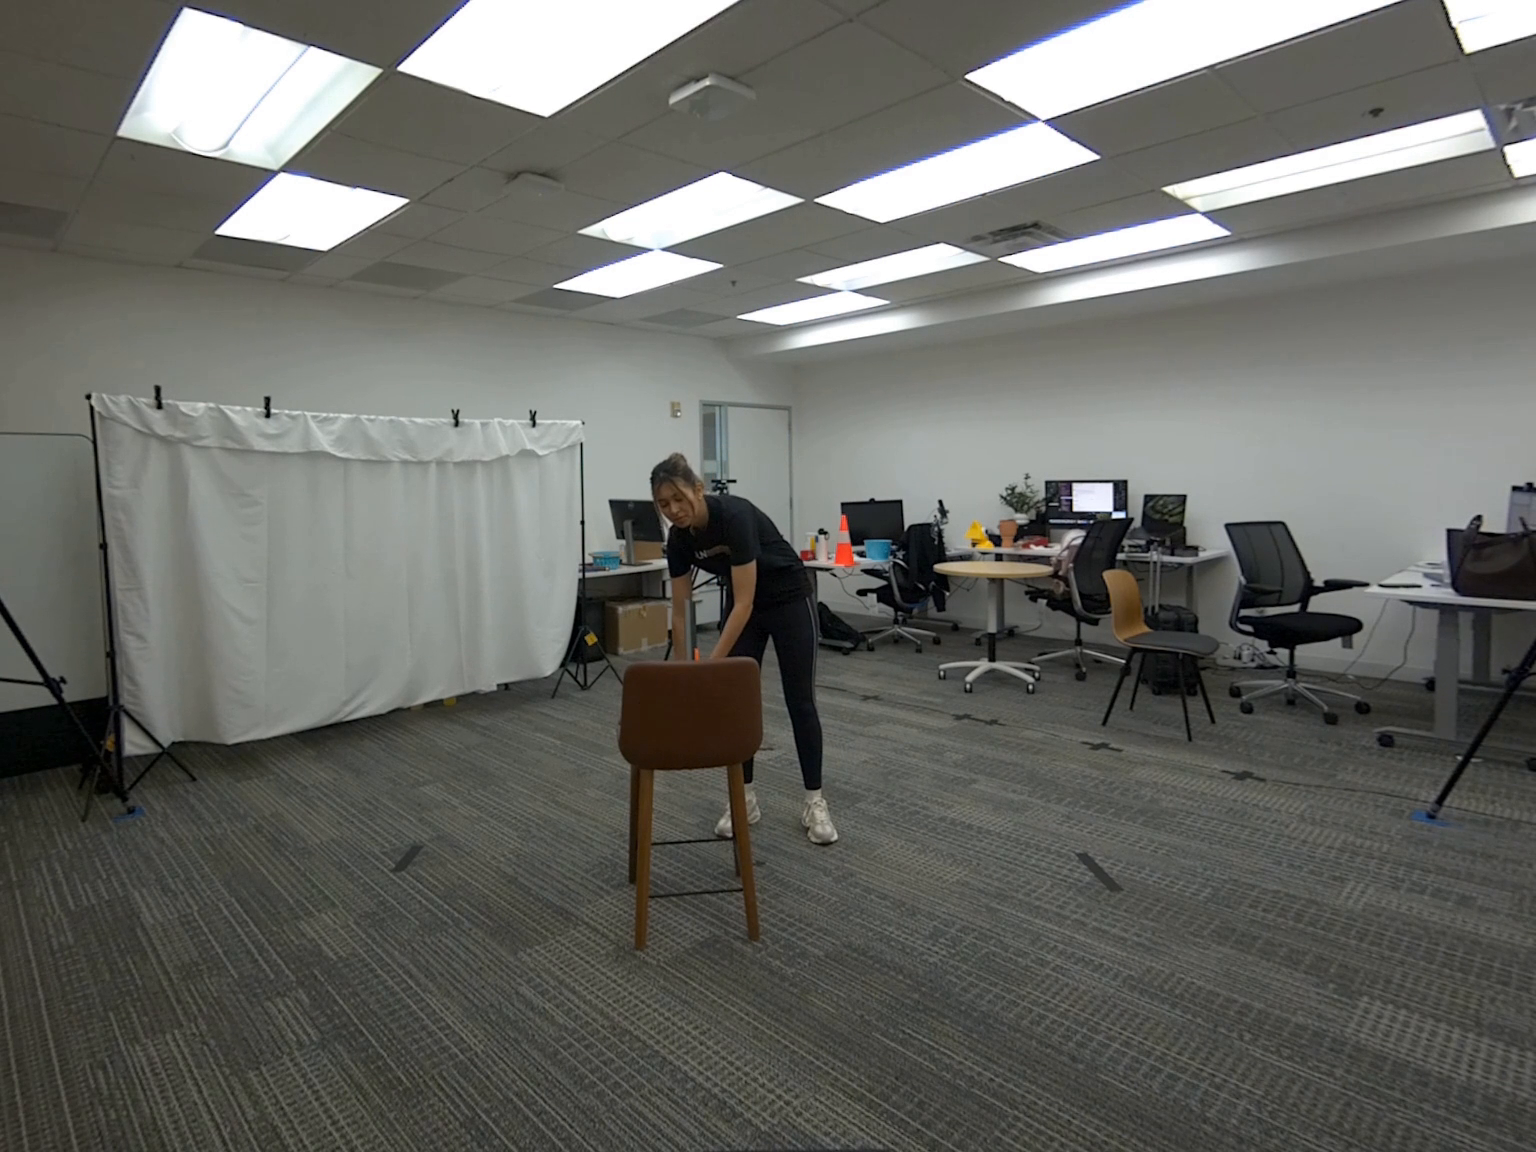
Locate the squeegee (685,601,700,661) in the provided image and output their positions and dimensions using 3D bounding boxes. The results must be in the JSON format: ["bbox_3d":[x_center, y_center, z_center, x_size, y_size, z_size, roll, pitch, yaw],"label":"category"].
[{"bbox_3d":[-0.382,0.550,3.398,0.053,0.443,1.522,11,-19,-5],"label":"squeegee"}]
